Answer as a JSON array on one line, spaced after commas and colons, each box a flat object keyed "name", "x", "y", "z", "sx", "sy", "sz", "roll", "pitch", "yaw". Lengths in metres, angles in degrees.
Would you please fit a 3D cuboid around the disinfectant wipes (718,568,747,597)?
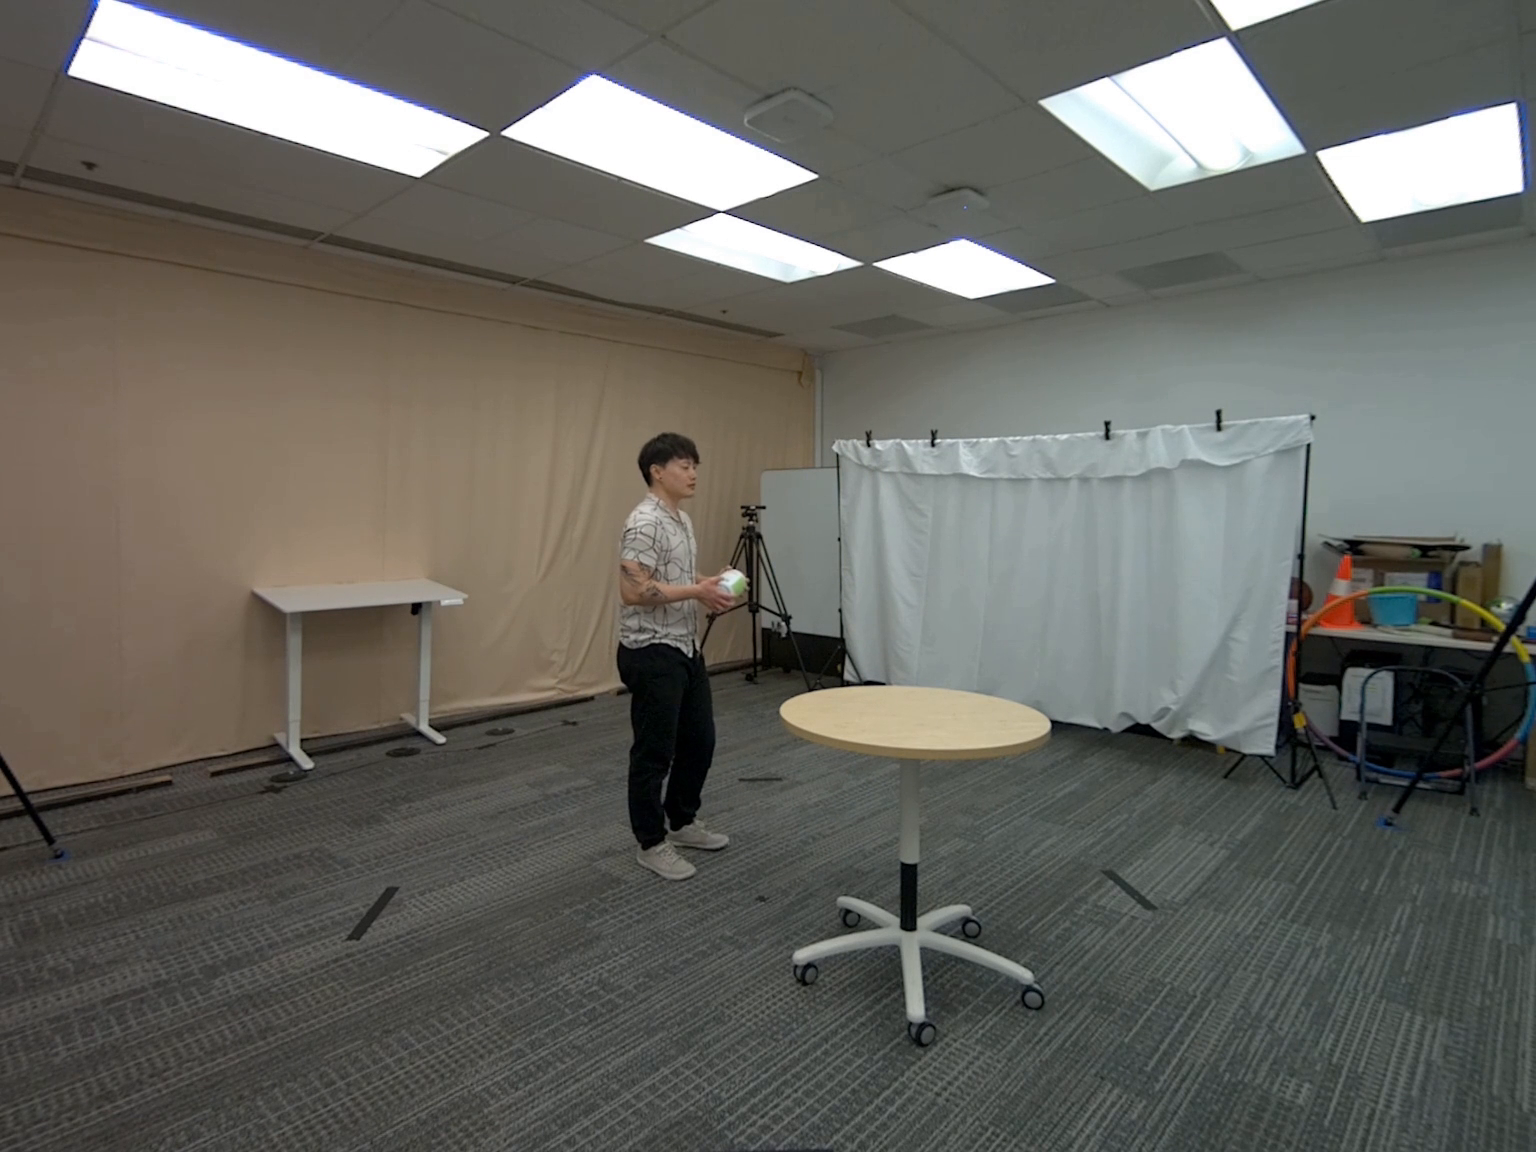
[{"name": "disinfectant wipes", "x": -0.160, "y": 0.050, "z": 3.200, "sx": 0.120, "sy": 0.117, "sz": 0.214, "roll": 1, "pitch": 14, "yaw": 20}]
